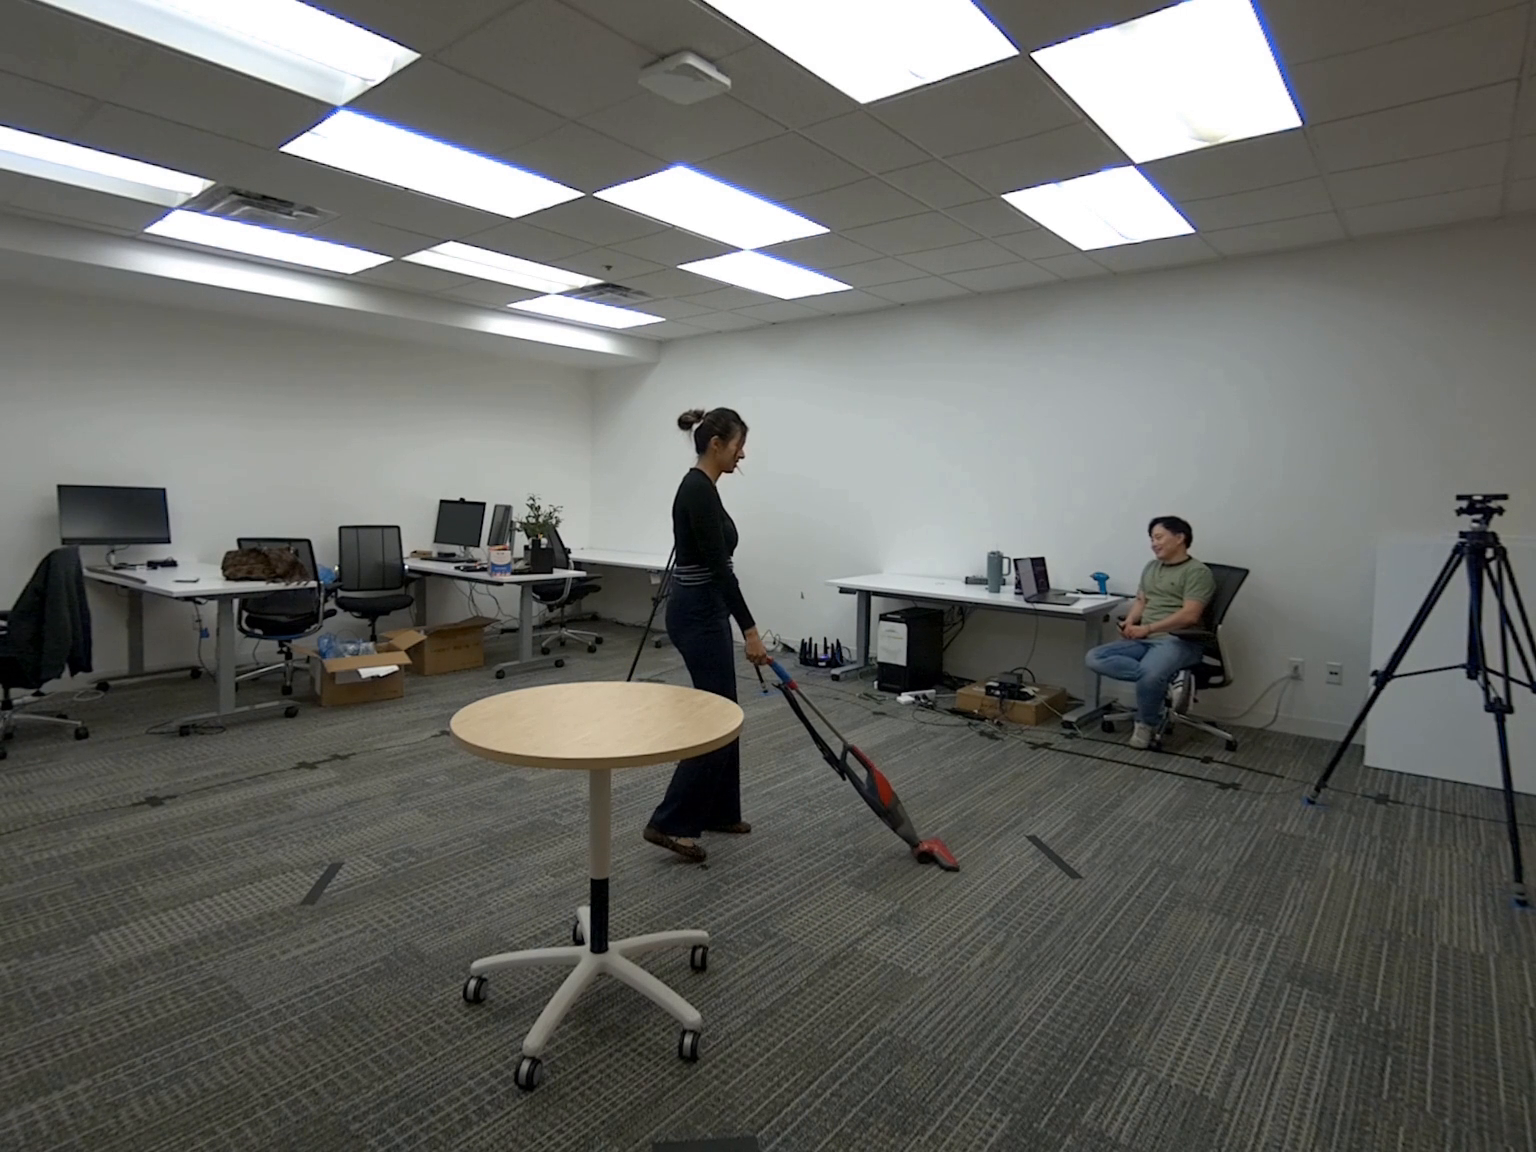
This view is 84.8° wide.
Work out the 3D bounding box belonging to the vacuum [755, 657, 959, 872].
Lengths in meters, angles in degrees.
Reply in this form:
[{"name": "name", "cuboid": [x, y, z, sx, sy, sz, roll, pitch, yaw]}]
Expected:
[{"name": "vacuum", "cuboid": [0.267, 0.667, 3.207, 0.144, 1.043, 0.254, -42, 4, 4]}]
